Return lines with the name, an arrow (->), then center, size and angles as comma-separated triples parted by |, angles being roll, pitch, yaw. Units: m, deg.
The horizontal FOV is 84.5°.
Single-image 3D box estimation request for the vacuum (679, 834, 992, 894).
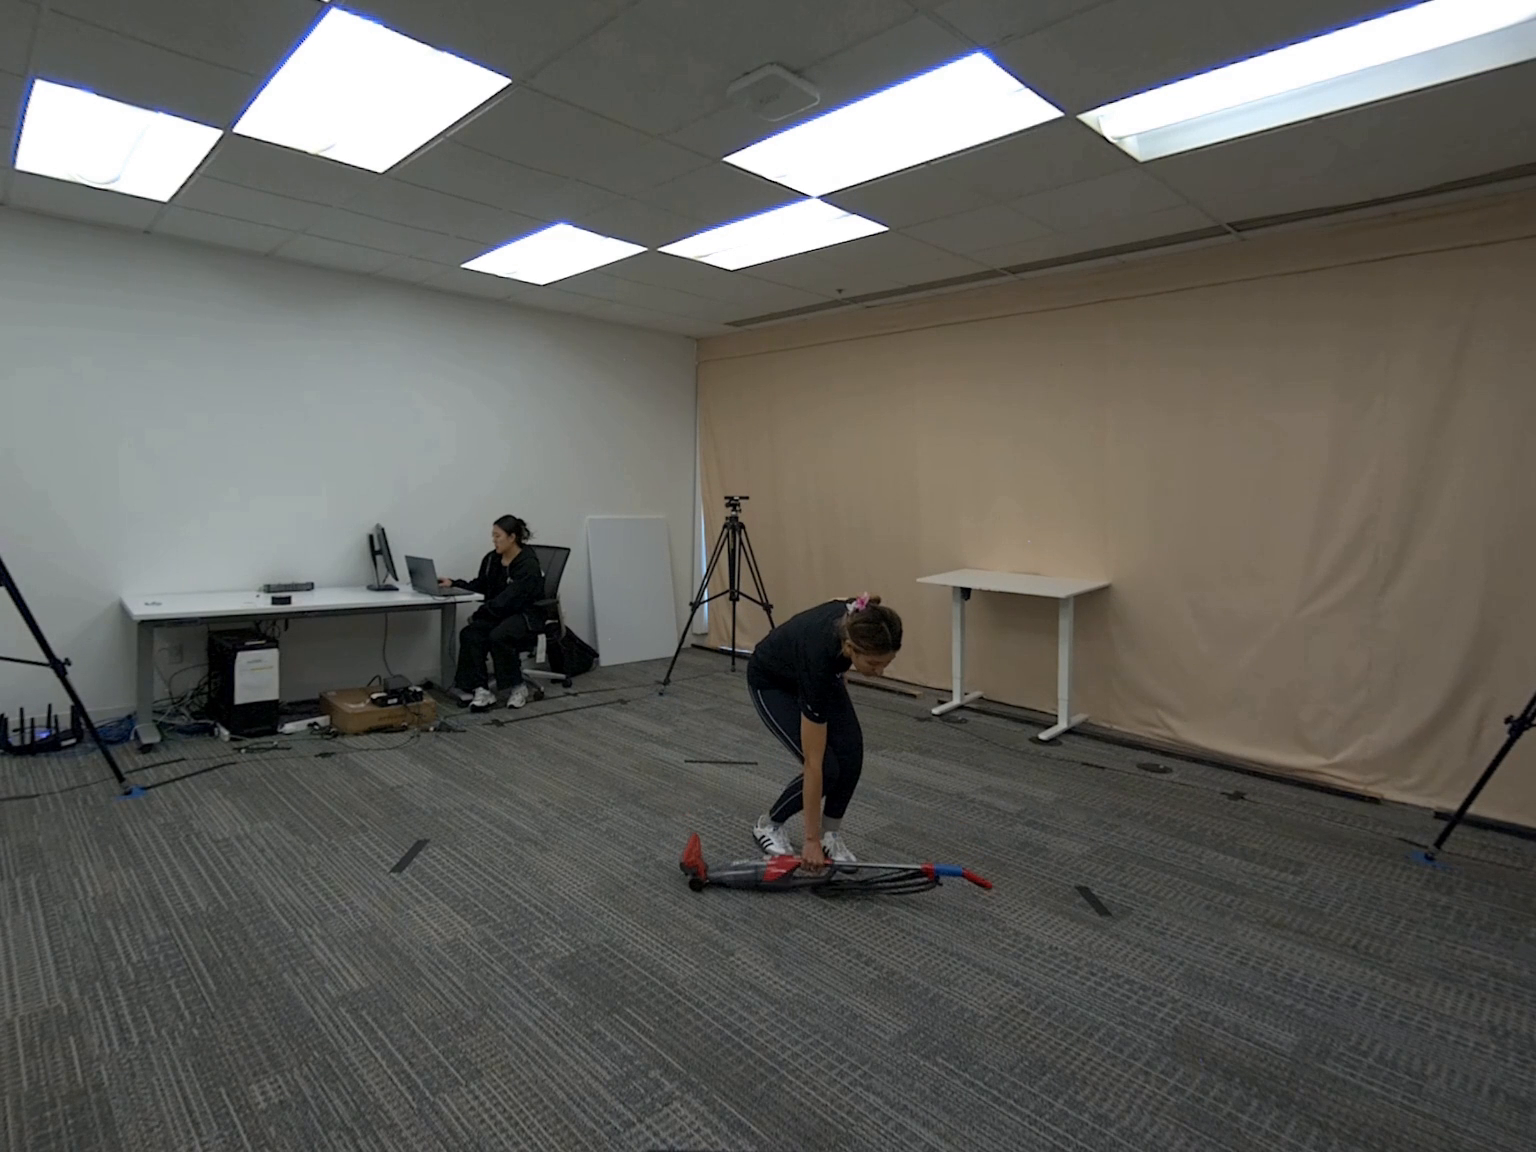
vacuum -> 0.245, 1.040, 2.954 | 1.054, 0.143, 0.252 | 1, 7, 6
